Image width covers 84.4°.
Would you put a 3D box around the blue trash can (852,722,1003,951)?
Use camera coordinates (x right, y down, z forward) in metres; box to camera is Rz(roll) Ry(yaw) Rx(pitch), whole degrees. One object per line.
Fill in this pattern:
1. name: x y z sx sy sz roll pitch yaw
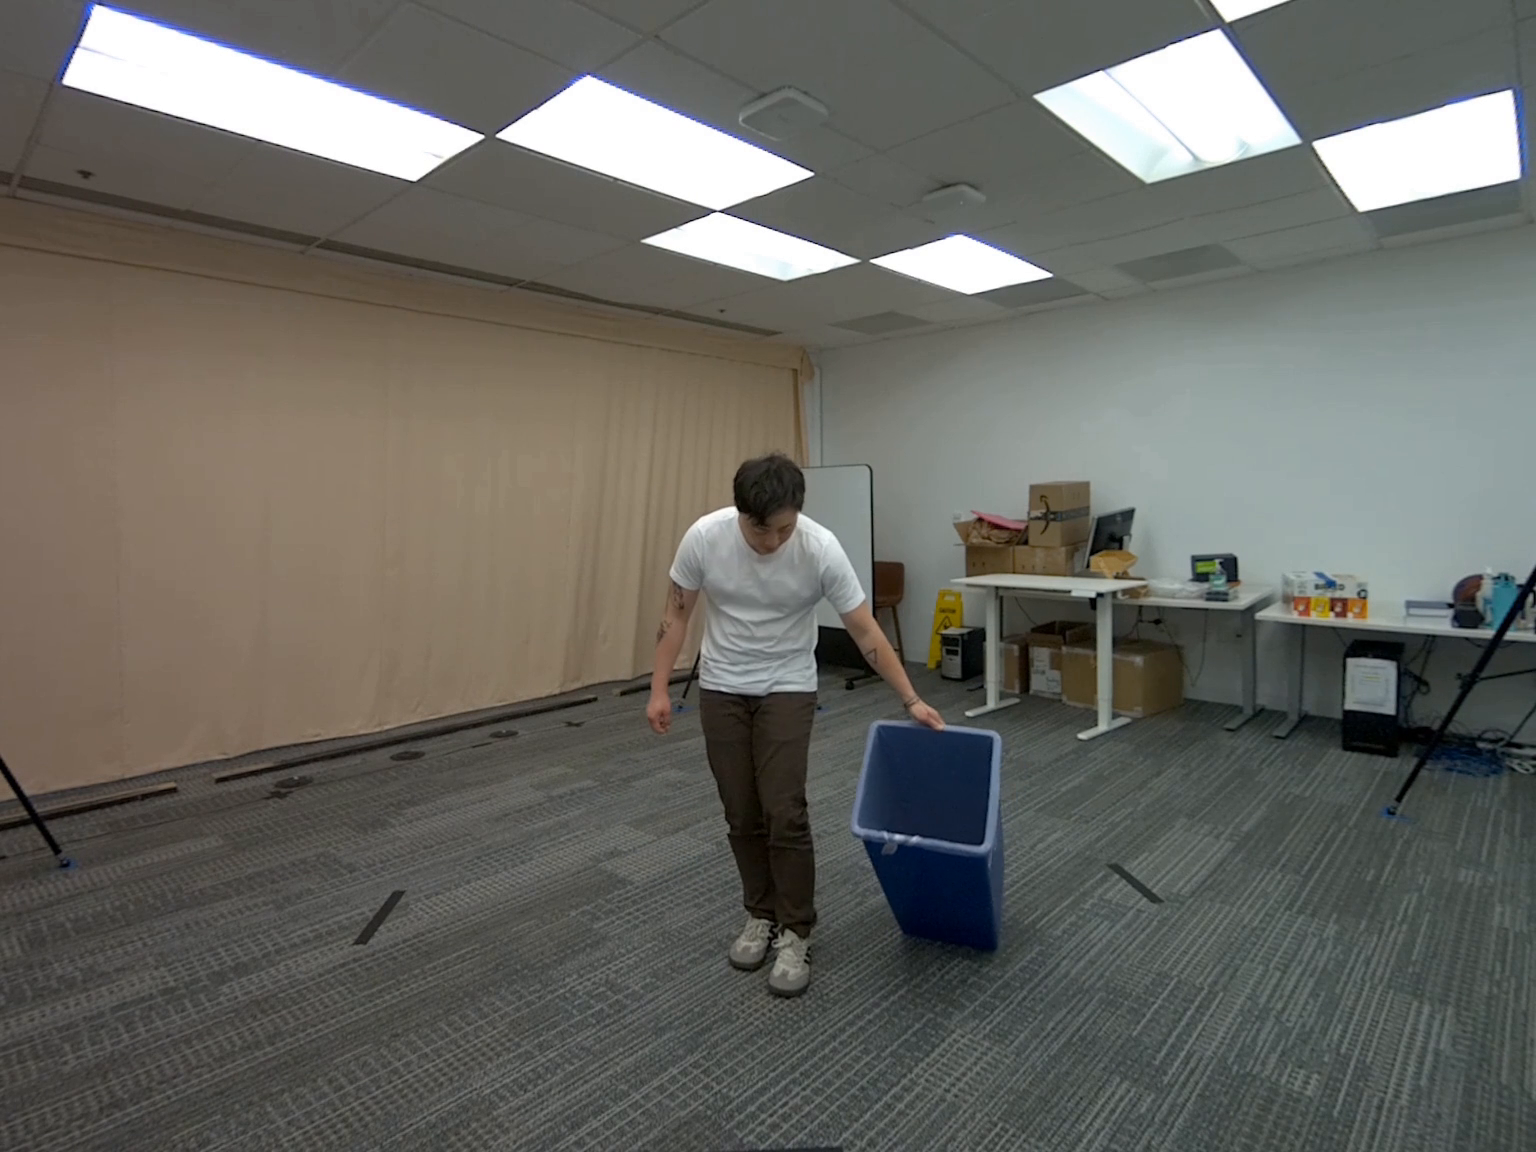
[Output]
1. blue trash can: 0.530 0.808 2.516 0.383 0.693 0.380 0 46 22
